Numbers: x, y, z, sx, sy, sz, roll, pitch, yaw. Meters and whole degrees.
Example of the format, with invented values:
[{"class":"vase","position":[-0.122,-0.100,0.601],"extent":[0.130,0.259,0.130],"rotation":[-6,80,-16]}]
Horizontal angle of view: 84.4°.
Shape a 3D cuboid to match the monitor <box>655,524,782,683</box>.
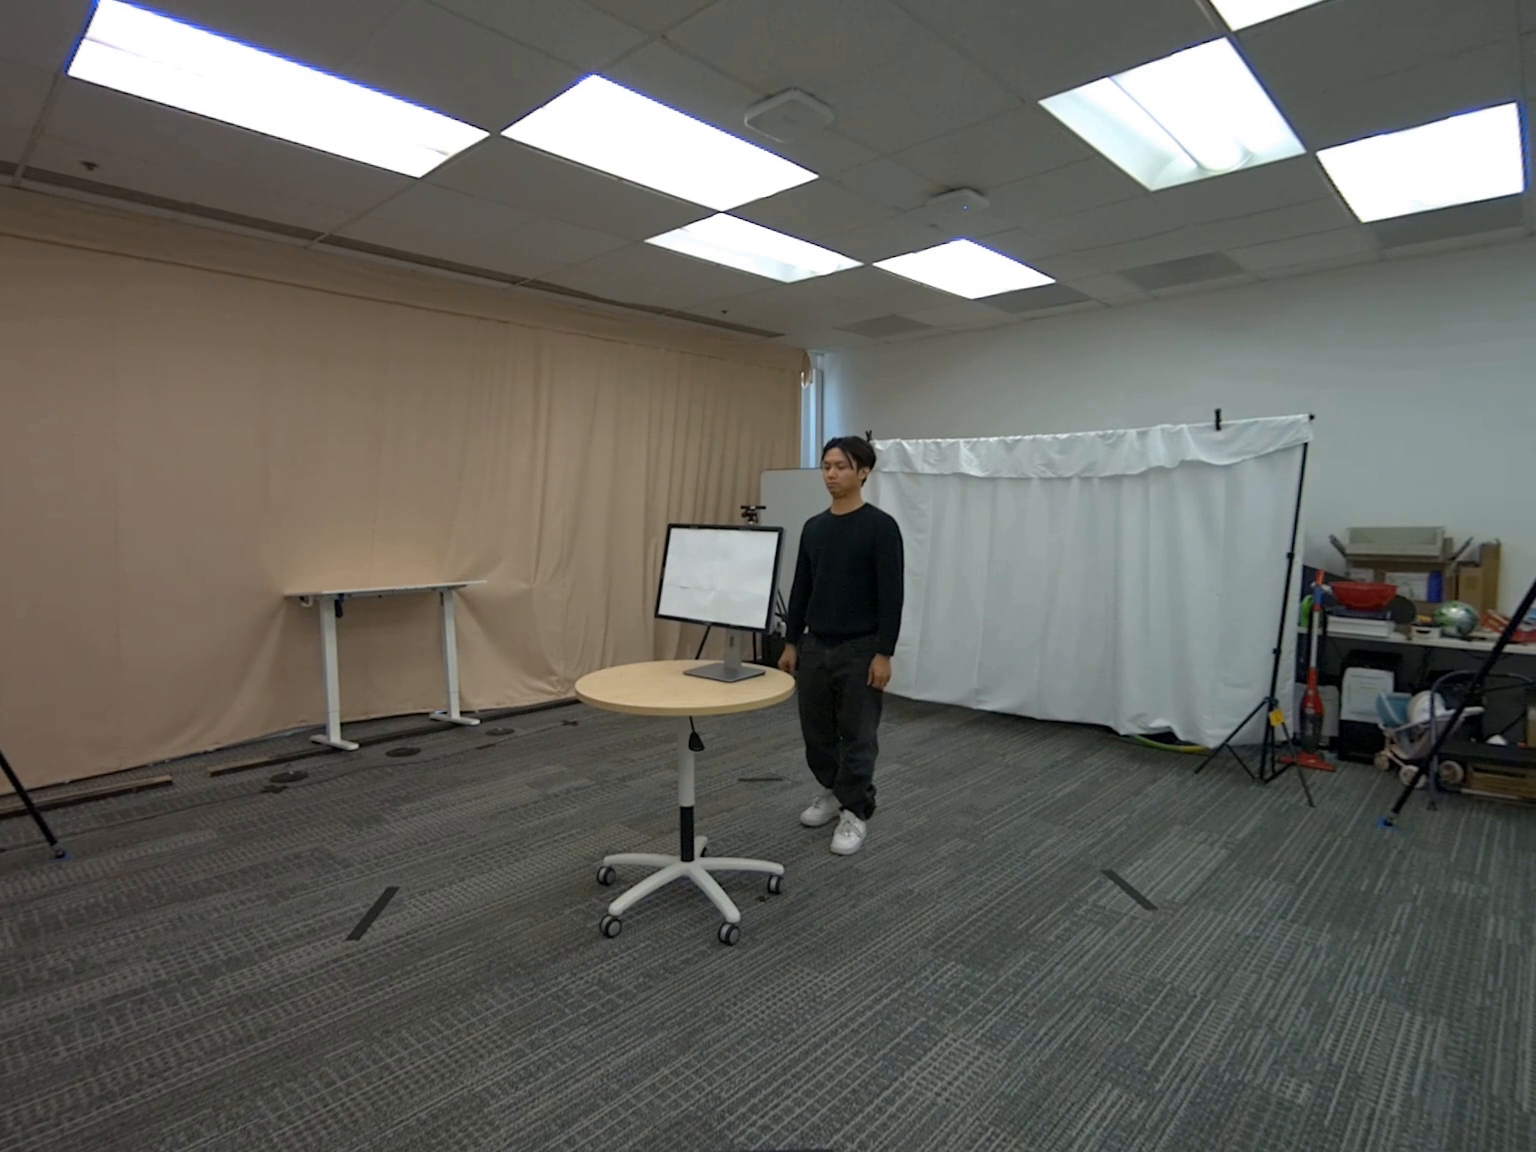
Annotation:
[{"class":"monitor","position":[-0.155,0.092,3.041],"extent":[0.557,0.521,0.181],"rotation":[2,5,39]}]
